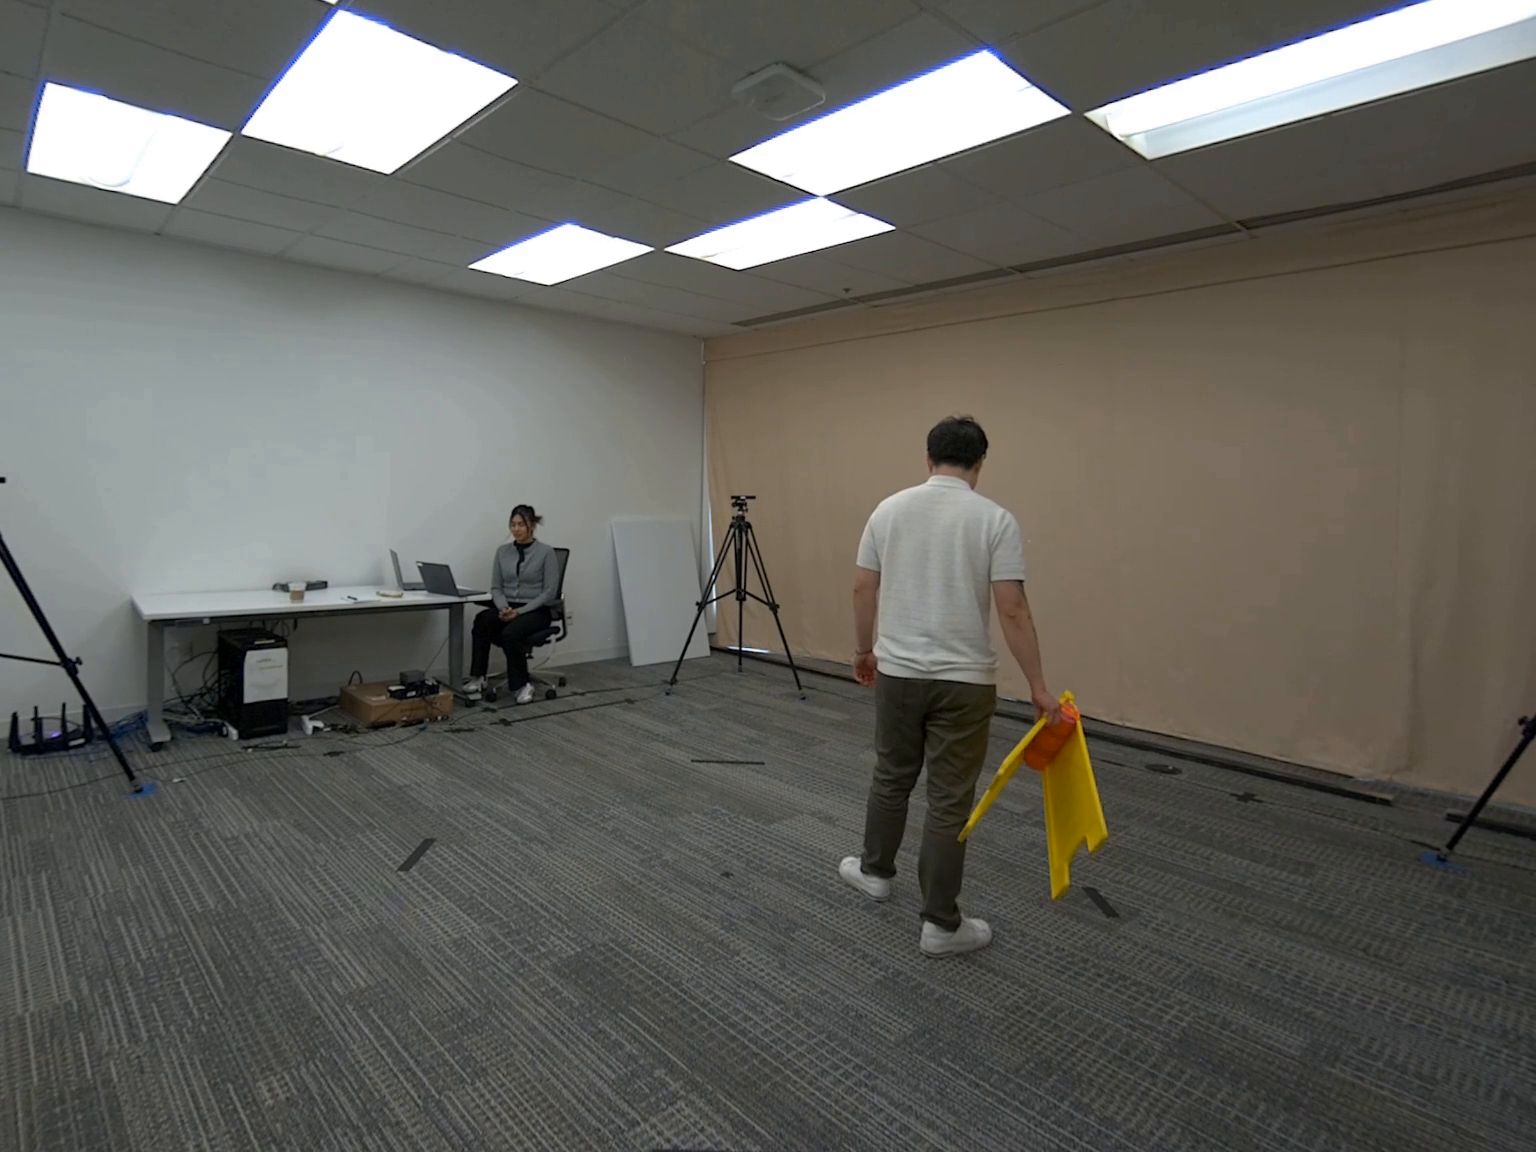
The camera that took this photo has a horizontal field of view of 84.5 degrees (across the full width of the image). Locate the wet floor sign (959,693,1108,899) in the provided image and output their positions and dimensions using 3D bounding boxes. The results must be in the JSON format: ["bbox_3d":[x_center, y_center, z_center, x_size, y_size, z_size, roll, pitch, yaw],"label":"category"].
[{"bbox_3d":[0.815,0.570,2.503,0.293,0.279,0.645,28,32,11],"label":"wet floor sign"}]
